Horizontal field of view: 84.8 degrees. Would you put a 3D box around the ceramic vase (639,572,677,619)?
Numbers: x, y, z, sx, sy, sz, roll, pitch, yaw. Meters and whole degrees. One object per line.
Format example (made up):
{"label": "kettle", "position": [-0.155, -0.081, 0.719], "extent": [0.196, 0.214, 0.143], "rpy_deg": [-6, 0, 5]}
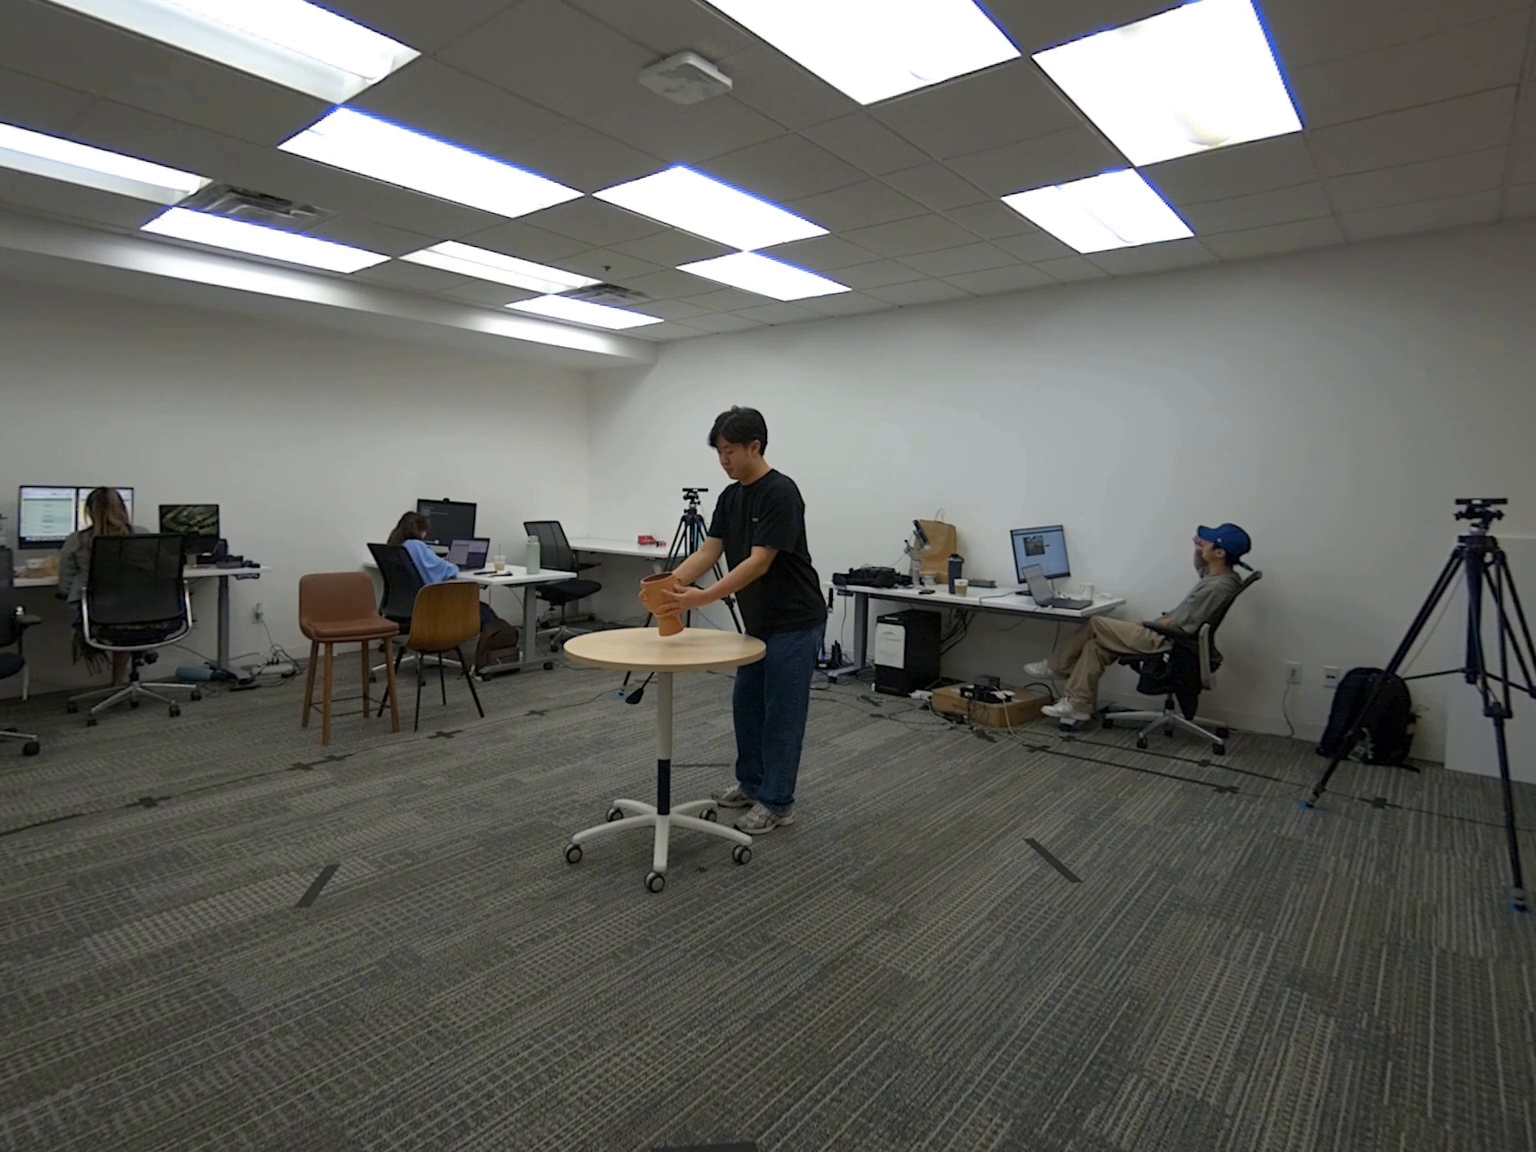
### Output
{"label": "ceramic vase", "position": [-0.407, 0.107, 3.226], "extent": [0.158, 0.217, 0.136], "rpy_deg": [-11, 10, -2]}
